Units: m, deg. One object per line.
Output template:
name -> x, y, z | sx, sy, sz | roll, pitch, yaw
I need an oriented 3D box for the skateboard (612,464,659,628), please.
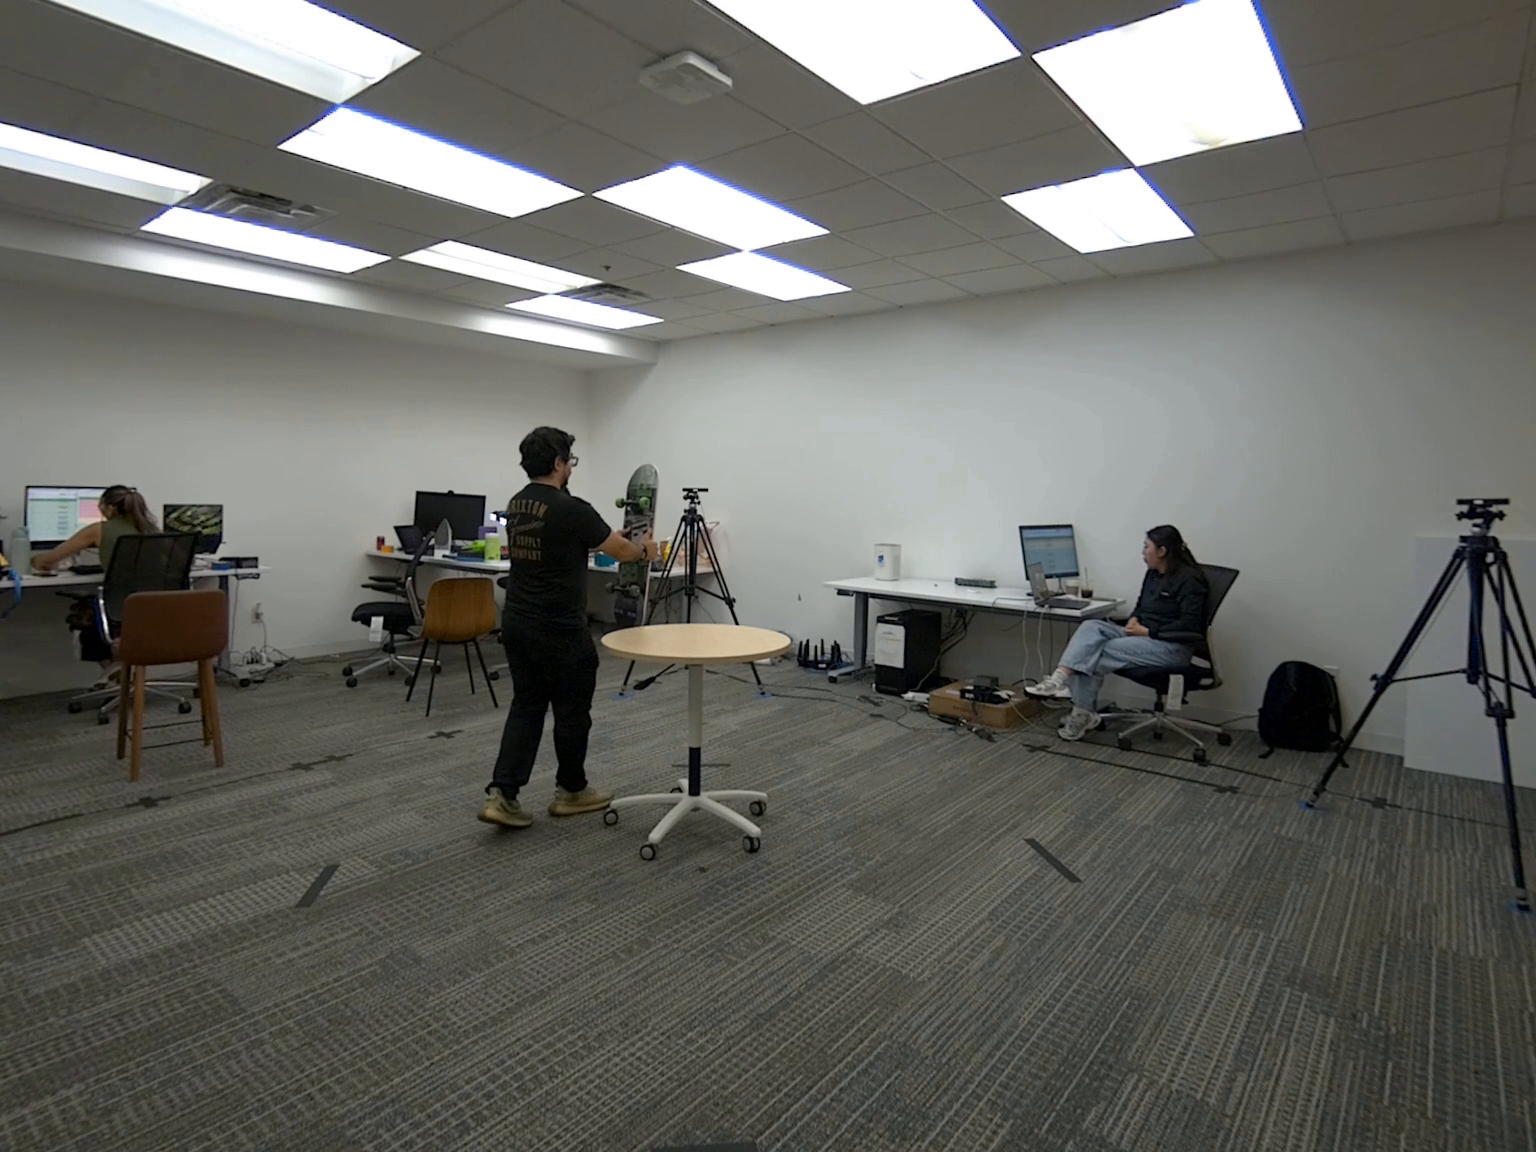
skateboard -> -0.636, -0.138, 3.892 | 0.199, 0.789, 0.106 | 2, -6, 37
